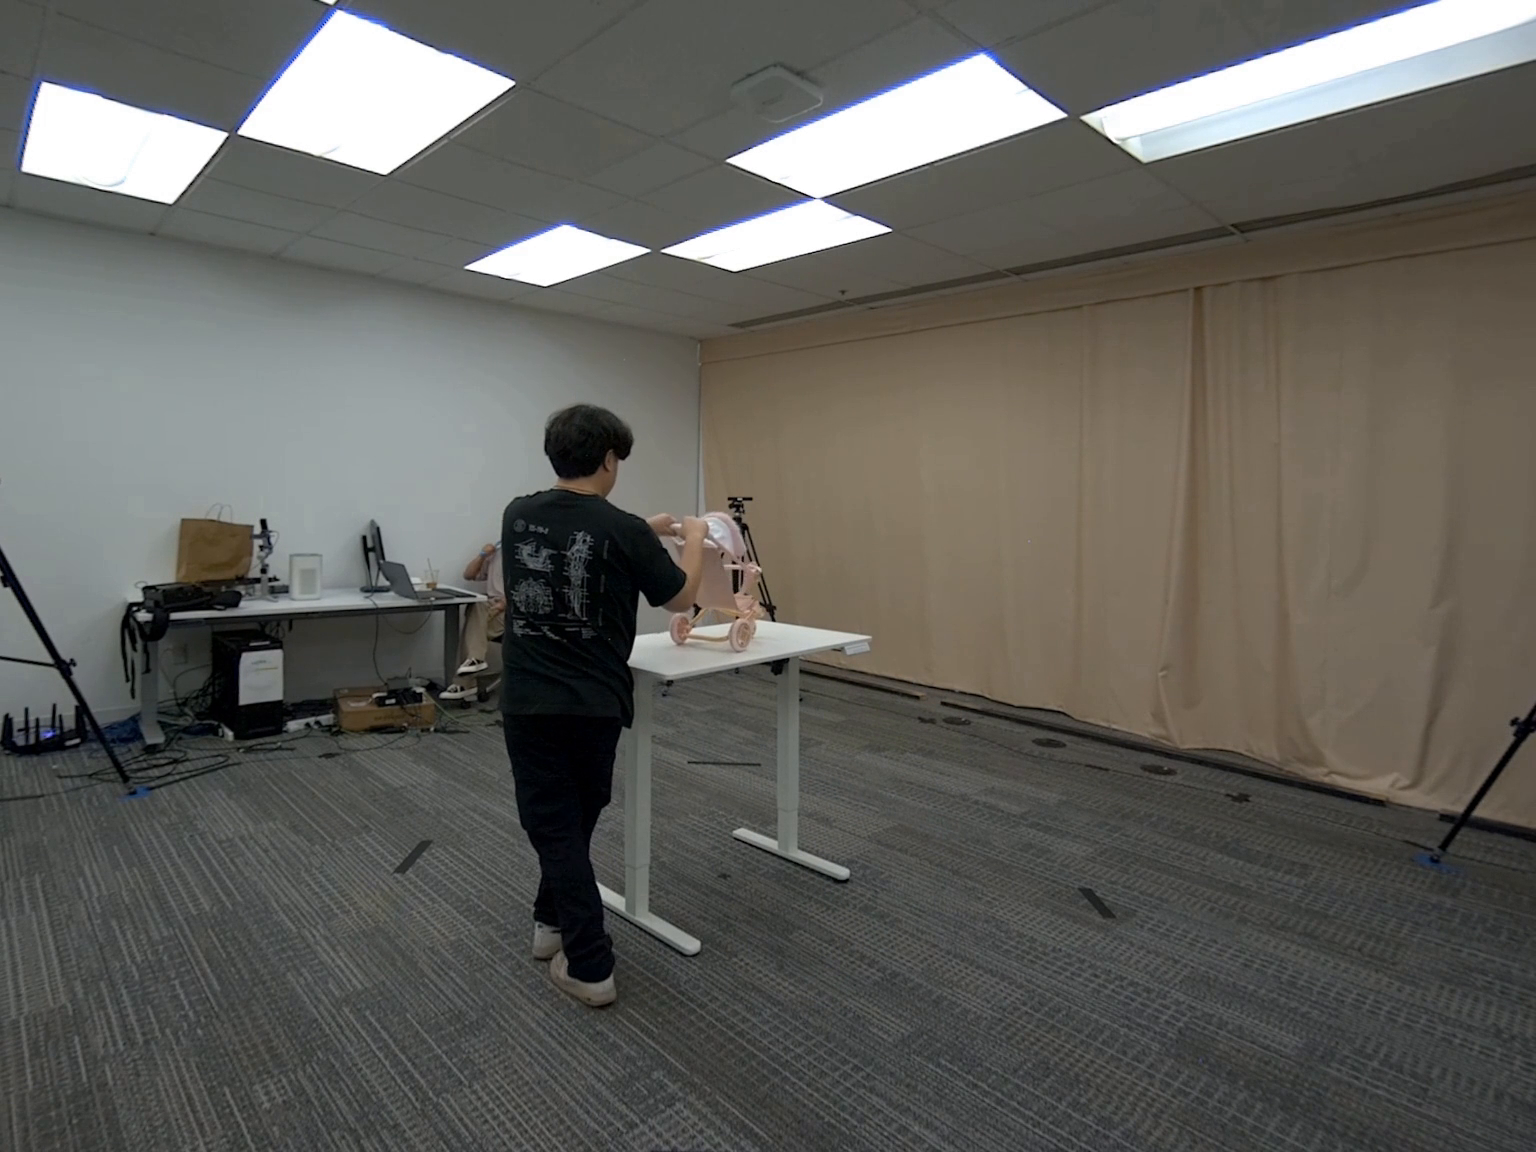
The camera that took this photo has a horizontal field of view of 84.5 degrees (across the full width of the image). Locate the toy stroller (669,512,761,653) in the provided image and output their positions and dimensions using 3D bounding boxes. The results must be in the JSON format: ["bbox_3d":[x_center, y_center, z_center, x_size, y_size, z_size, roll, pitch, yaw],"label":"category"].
[{"bbox_3d":[-0.169,0.021,2.898,0.288,0.528,0.337,4,20,36],"label":"toy stroller"}]
